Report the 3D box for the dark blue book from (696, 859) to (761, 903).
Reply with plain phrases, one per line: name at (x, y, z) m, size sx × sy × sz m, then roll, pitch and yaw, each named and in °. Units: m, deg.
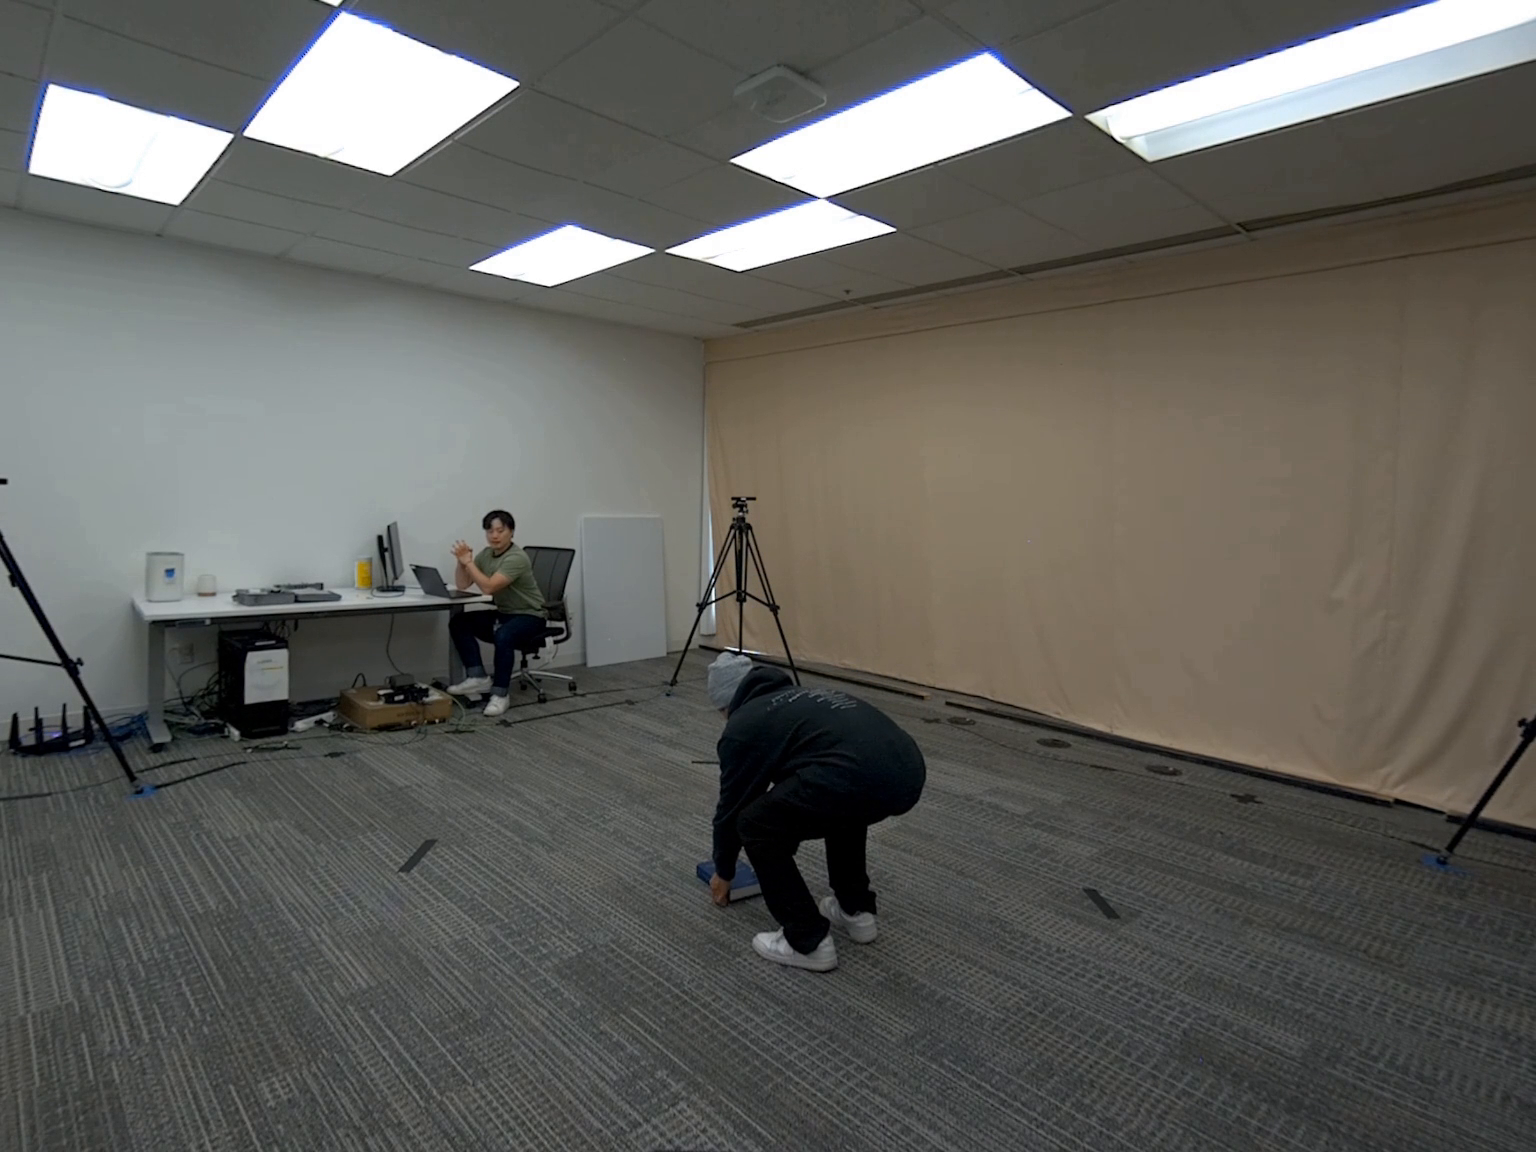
dark blue book at (-0.145, 1.094, 3.039) m, size 0.160 × 0.045 × 0.251 m, roll -2°, pitch 6°, yaw -31°
